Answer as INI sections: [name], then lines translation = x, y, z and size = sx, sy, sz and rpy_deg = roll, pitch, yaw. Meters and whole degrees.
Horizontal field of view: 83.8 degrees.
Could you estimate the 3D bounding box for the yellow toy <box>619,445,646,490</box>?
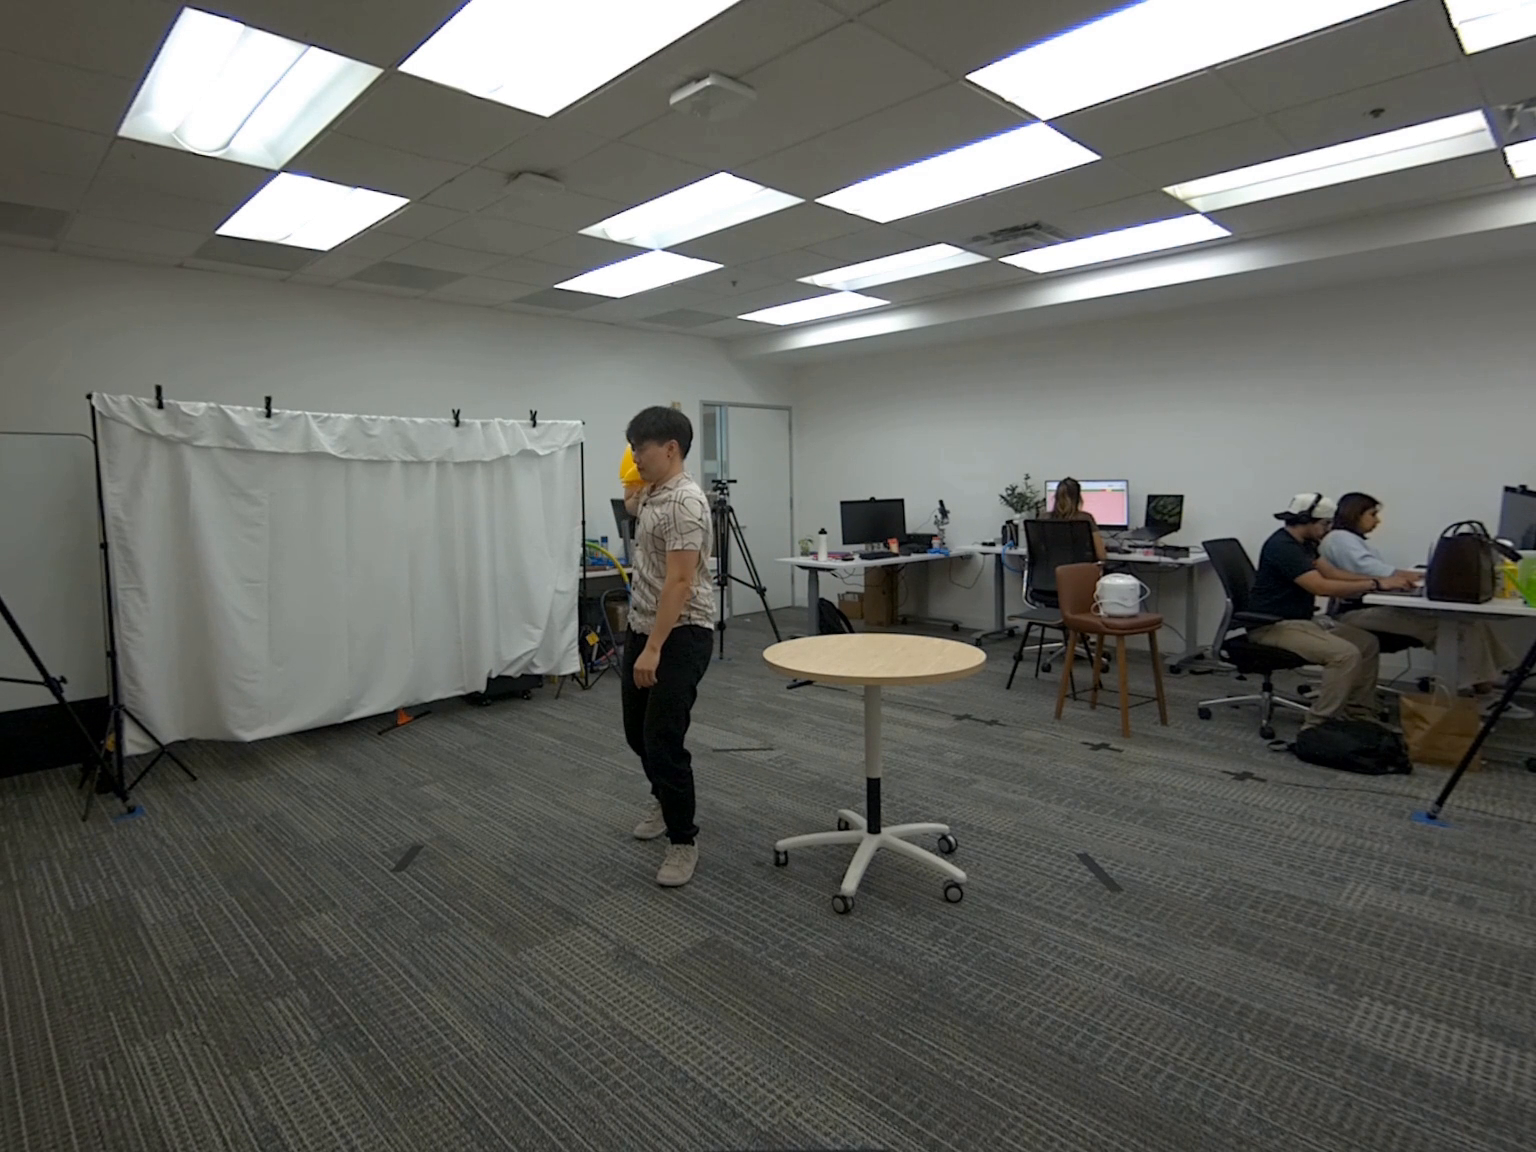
[yellow toy]
translation = -0.489, -0.476, 3.298
size = 0.192, 0.231, 0.205
rpy_deg = -9, -1, -4
